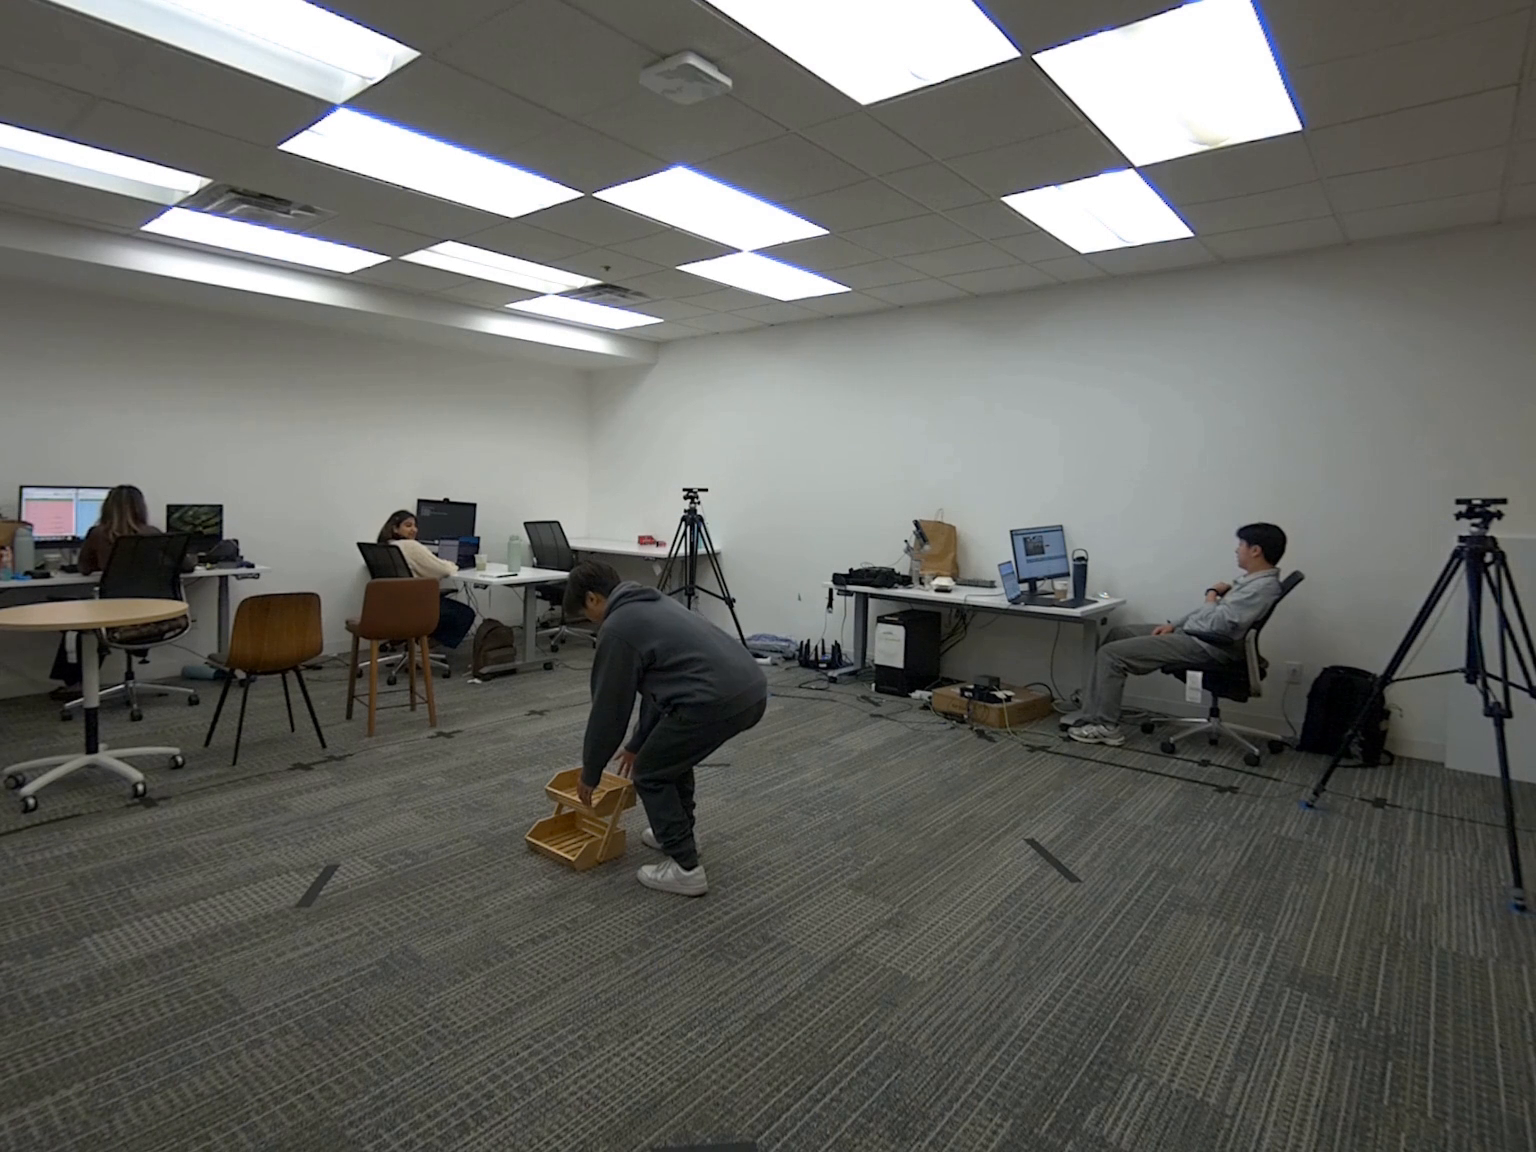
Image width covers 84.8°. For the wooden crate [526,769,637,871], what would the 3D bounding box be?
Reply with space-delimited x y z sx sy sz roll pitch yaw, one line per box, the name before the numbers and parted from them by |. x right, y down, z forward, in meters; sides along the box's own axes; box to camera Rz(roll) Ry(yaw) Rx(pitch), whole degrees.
wooden crate | -0.727 0.912 3.257 0.335 0.272 0.293 5 5 39
